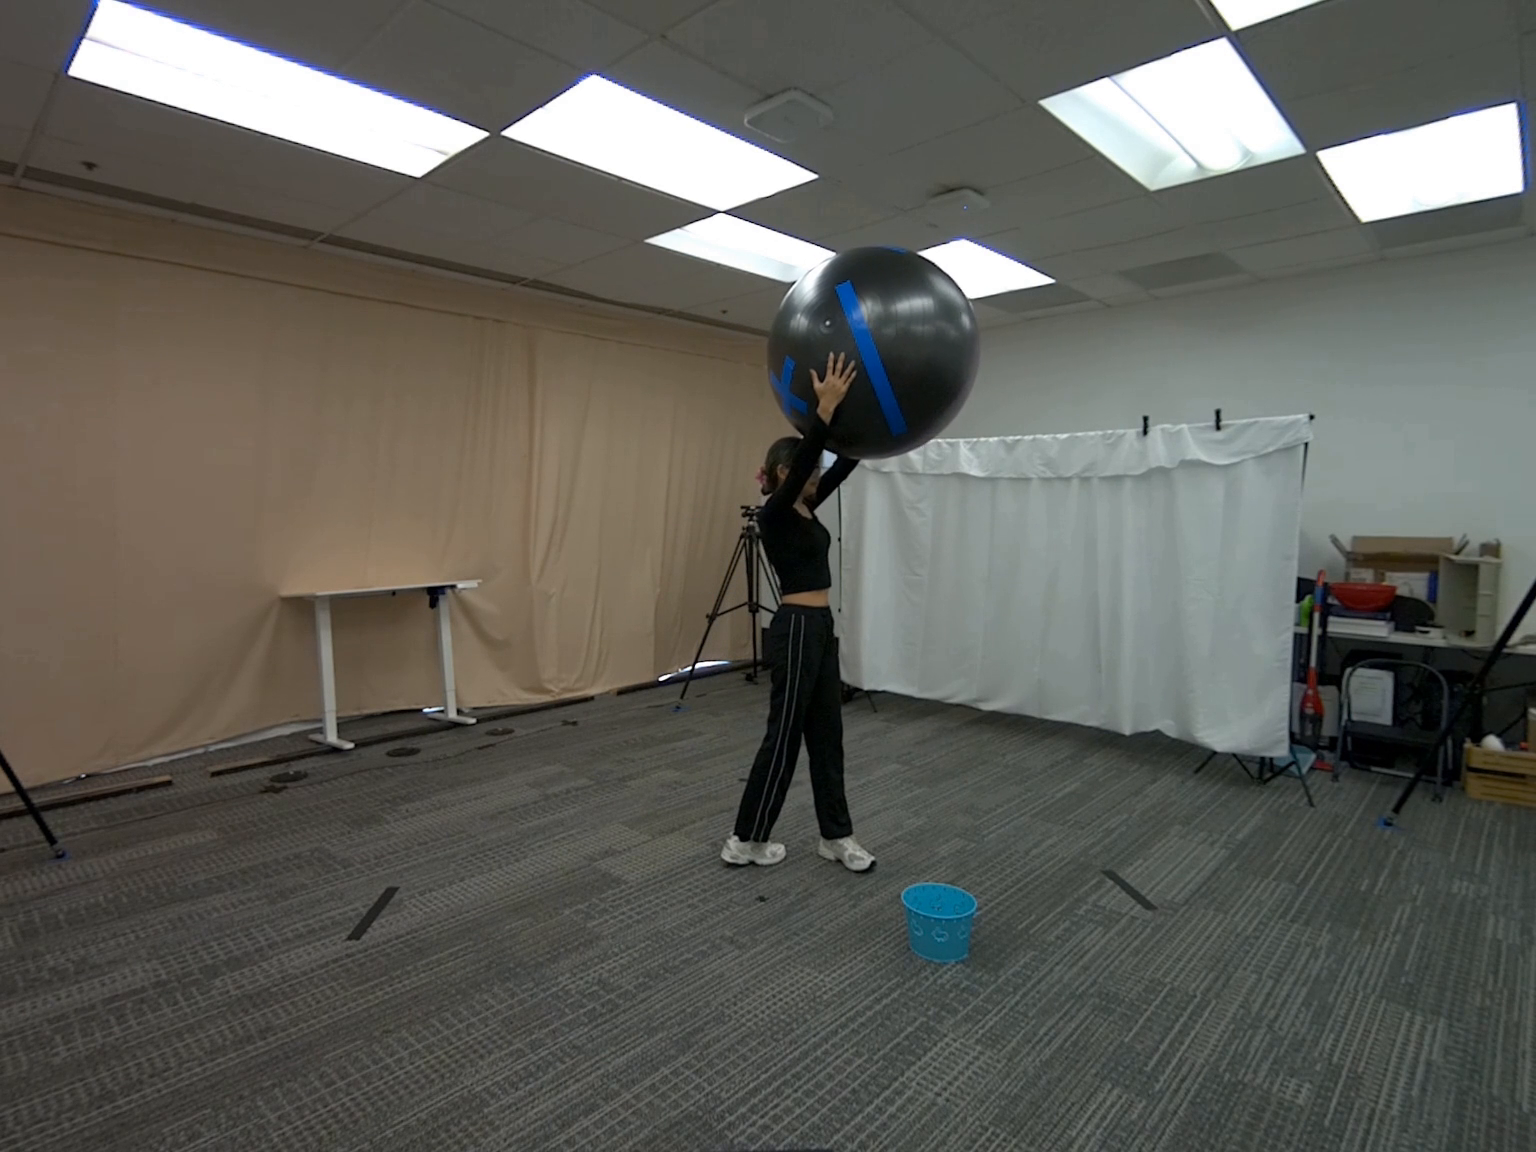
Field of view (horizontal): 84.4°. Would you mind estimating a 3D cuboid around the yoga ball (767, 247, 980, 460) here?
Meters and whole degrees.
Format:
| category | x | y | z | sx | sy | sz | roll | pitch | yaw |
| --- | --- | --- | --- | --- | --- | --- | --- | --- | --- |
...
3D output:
| category | x | y | z | sx | sy | sz | roll | pitch | yaw |
| --- | --- | --- | --- | --- | --- | --- | --- | --- | --- |
| yoga ball | 0.376 | -0.800 | 3.069 | 0.757 | 0.756 | 0.760 | 0 | 4 | -2 |
